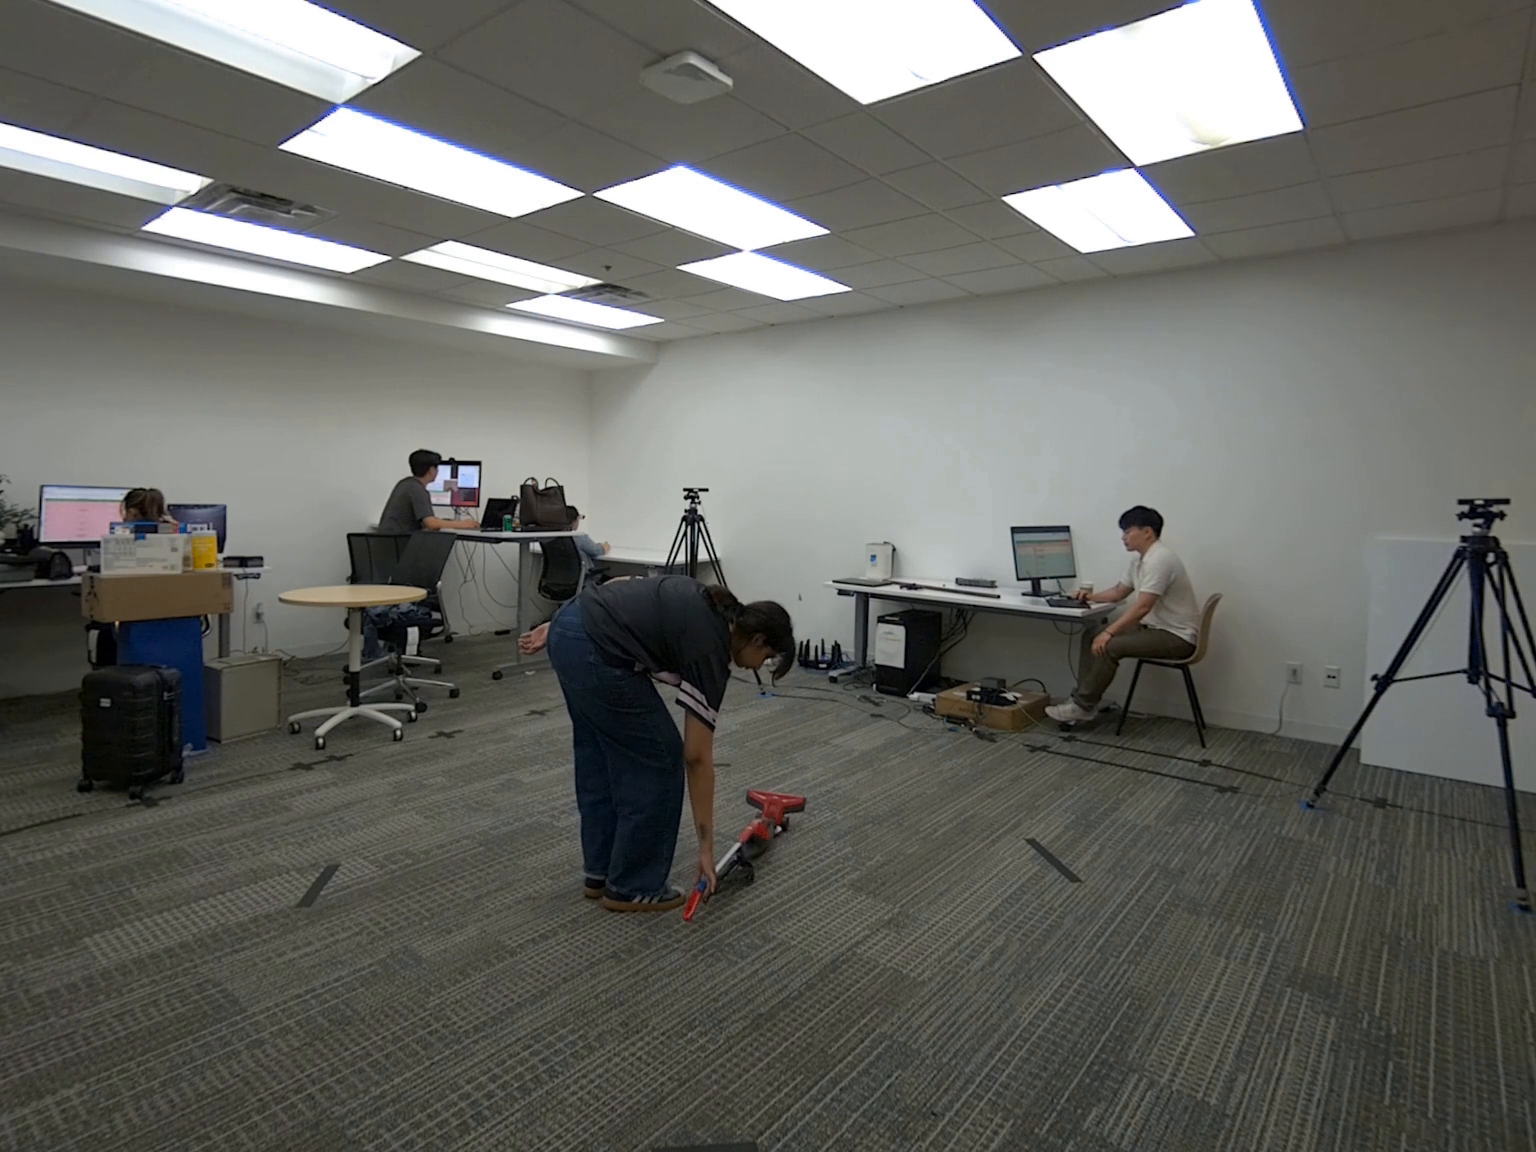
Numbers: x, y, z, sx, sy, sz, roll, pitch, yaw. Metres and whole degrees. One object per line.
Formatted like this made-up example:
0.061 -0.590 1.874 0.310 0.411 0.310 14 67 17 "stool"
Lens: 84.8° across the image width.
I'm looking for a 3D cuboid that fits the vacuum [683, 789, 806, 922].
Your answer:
-0.116 0.999 3.040 0.257 0.143 1.033 2 4 15 "vacuum"
